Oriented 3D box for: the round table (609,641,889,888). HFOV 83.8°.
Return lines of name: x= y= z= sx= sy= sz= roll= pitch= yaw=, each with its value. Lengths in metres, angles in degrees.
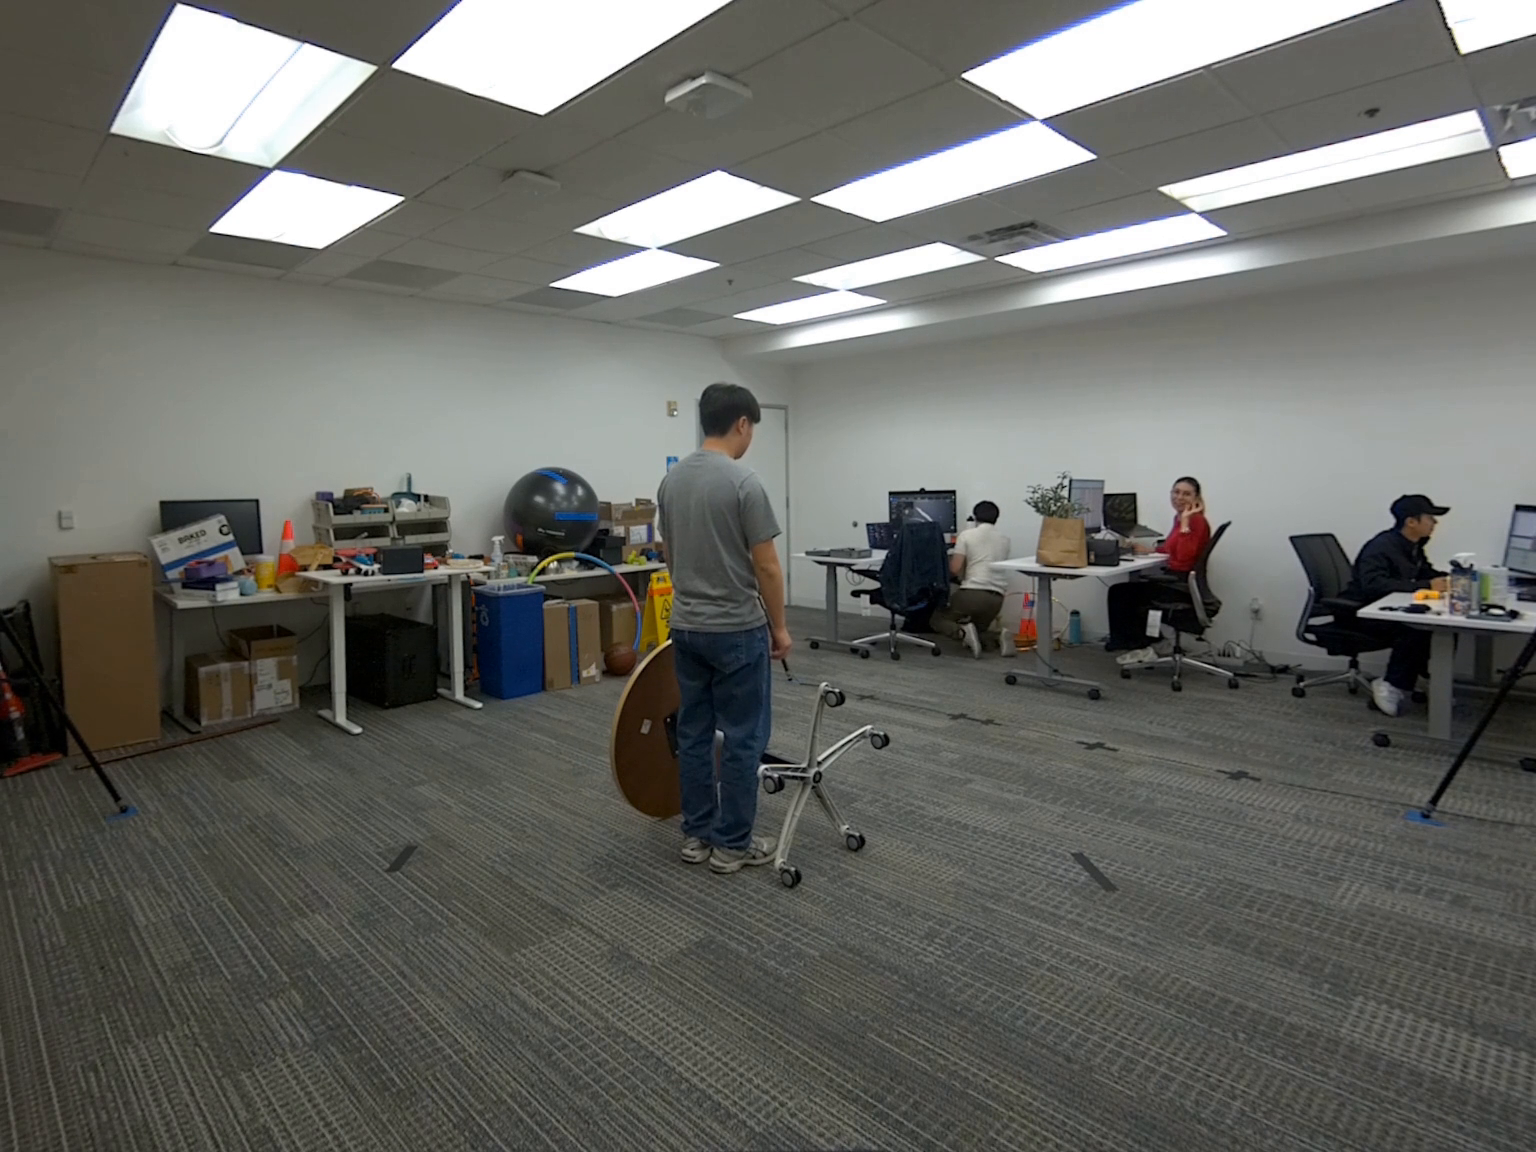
round table: x=-0.051 y=0.683 z=3.299 sx=0.821 sy=0.759 sz=0.744 roll=11 pitch=11 yaw=41
